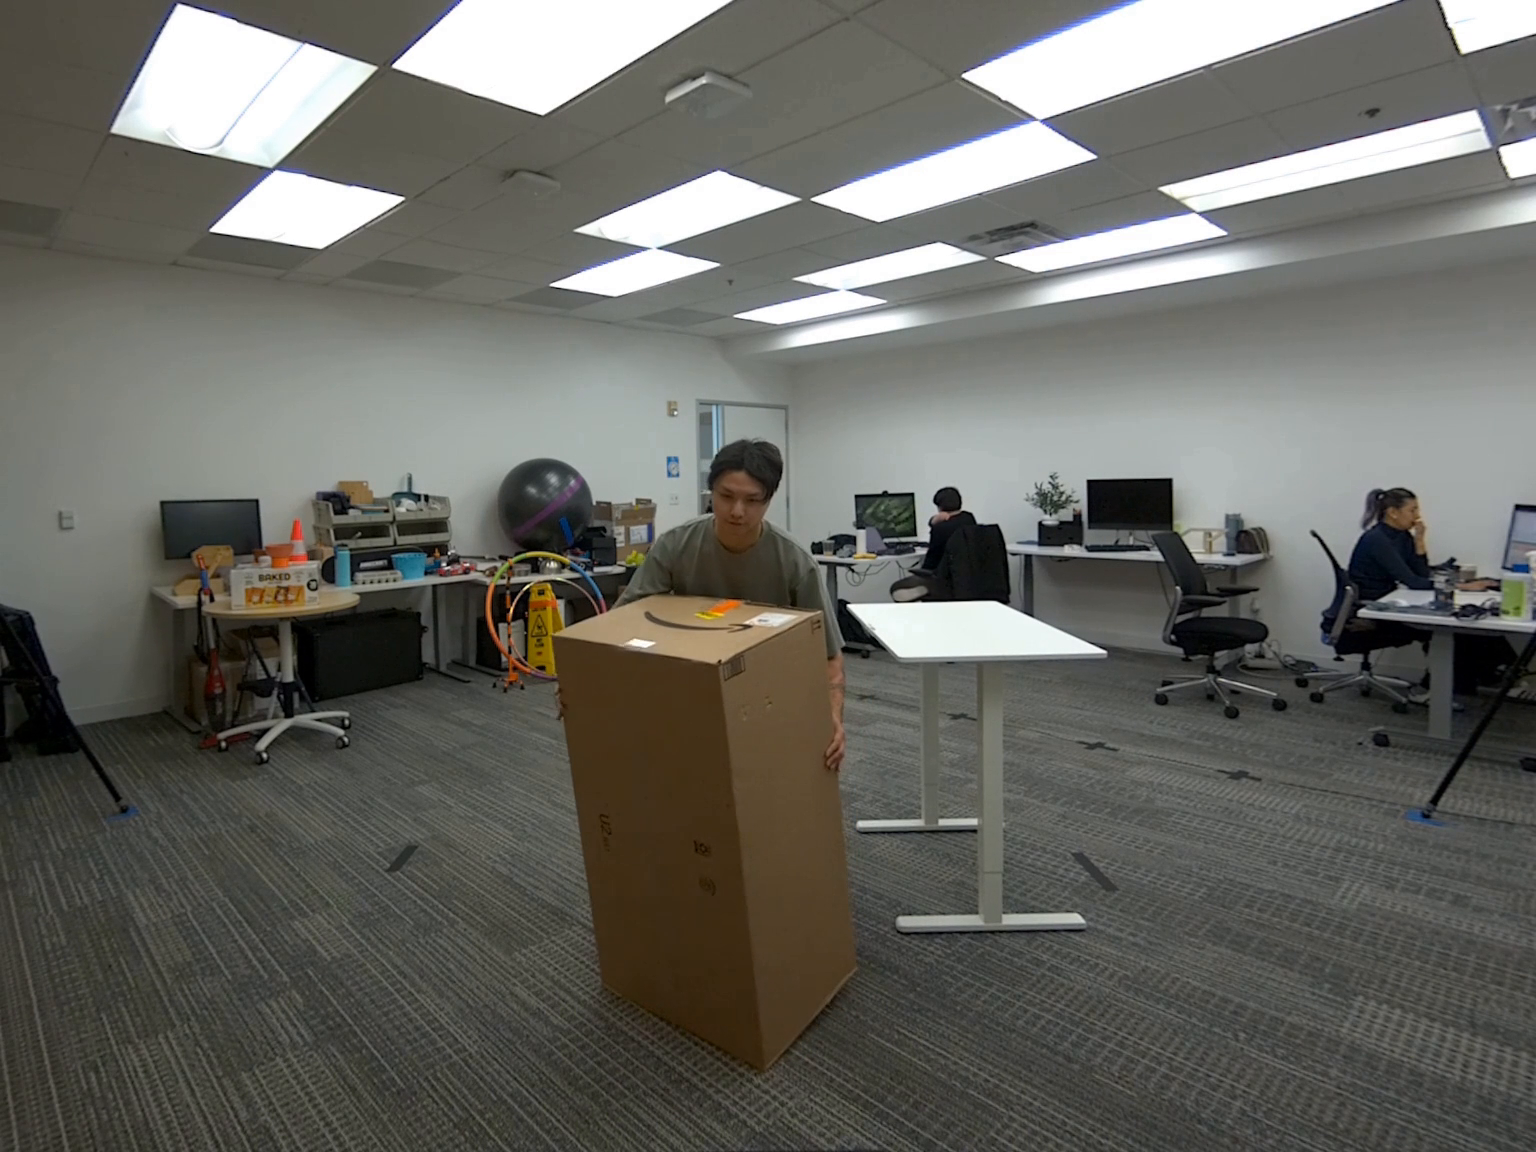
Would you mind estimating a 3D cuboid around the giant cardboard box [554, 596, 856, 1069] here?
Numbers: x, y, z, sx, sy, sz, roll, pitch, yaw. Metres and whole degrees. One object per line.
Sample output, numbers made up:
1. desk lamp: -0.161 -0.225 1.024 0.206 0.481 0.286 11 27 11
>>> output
1. giant cardboard box: -0.158 0.620 2.263 0.594 1.015 0.418 2 13 38
